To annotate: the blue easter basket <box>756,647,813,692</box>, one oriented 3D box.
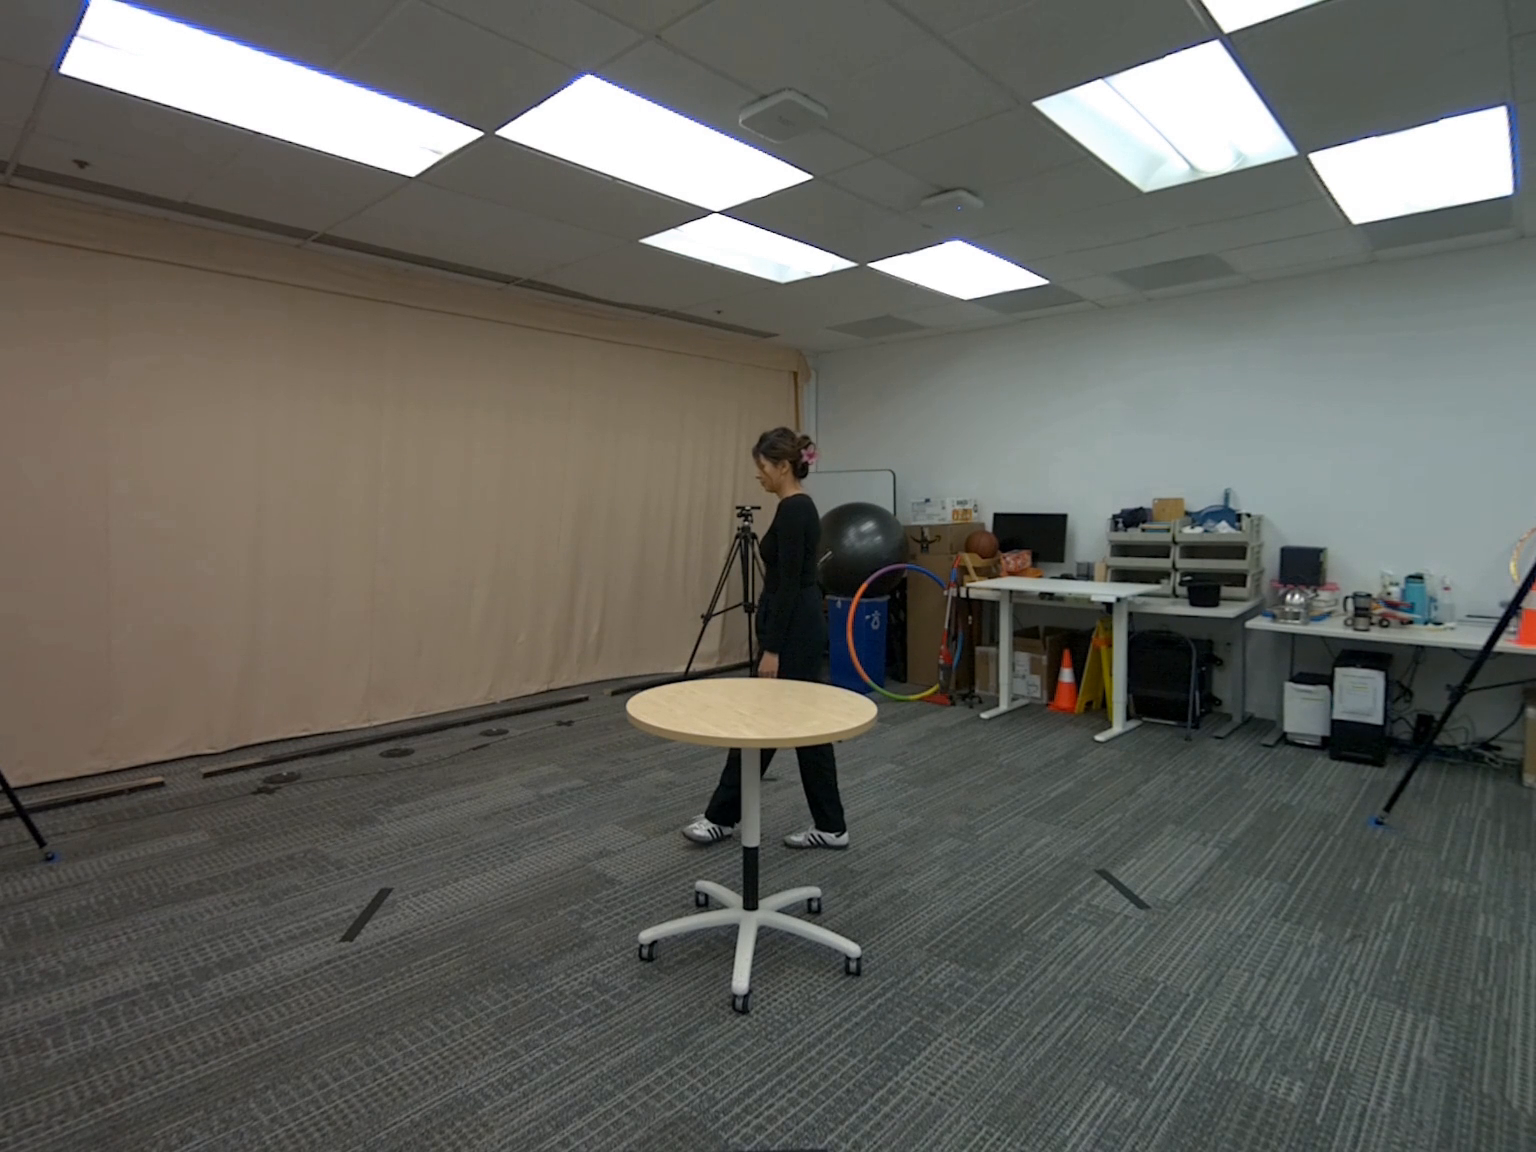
[{"bbox_3d":[0.075,0.416,3.875,0.243,0.158,0.240,2,-23,-1],"label":"blue easter basket"}]
